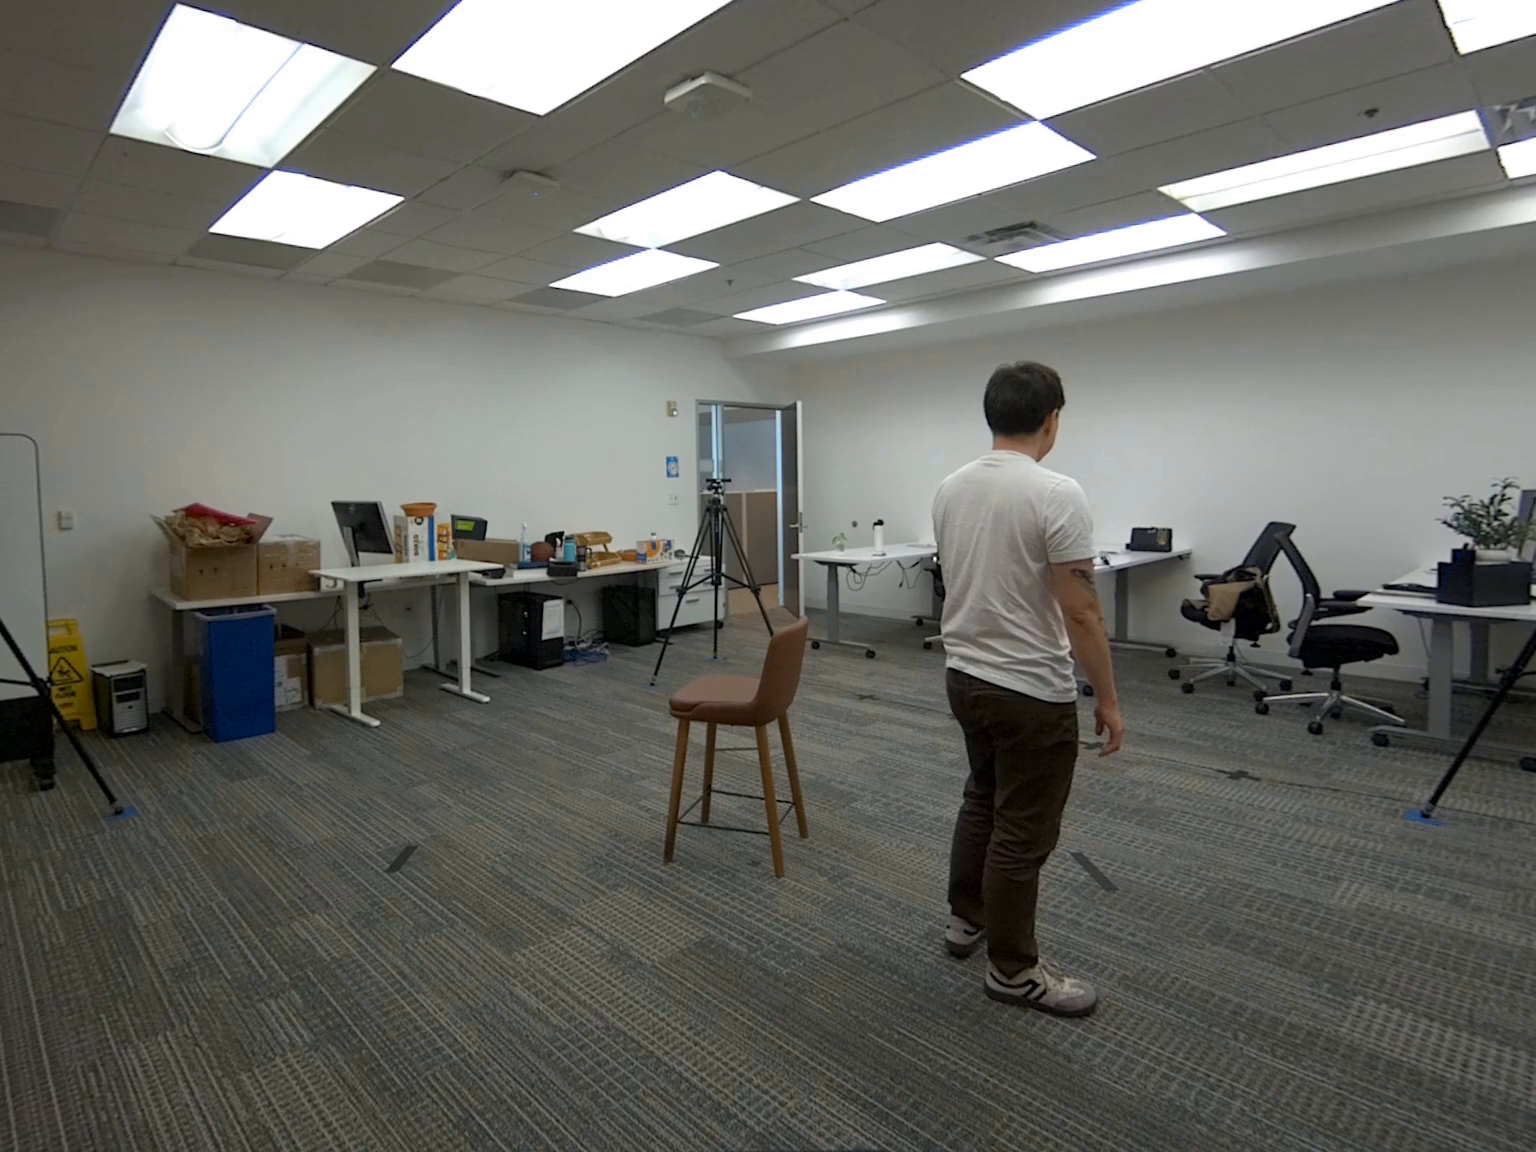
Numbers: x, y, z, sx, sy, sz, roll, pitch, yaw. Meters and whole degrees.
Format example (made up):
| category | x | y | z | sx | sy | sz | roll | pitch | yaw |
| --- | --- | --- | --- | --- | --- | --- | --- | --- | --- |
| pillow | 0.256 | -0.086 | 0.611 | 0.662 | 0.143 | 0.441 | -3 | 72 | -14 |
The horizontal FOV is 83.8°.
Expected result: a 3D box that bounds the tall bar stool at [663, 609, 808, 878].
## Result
| category | x | y | z | sx | sy | sz | roll | pitch | yaw |
| --- | --- | --- | --- | --- | --- | --- | --- | --- | --- |
| tall bar stool | -0.110 | 0.600 | 3.212 | 0.477 | 0.886 | 0.449 | 2 | 5 | 19 |
